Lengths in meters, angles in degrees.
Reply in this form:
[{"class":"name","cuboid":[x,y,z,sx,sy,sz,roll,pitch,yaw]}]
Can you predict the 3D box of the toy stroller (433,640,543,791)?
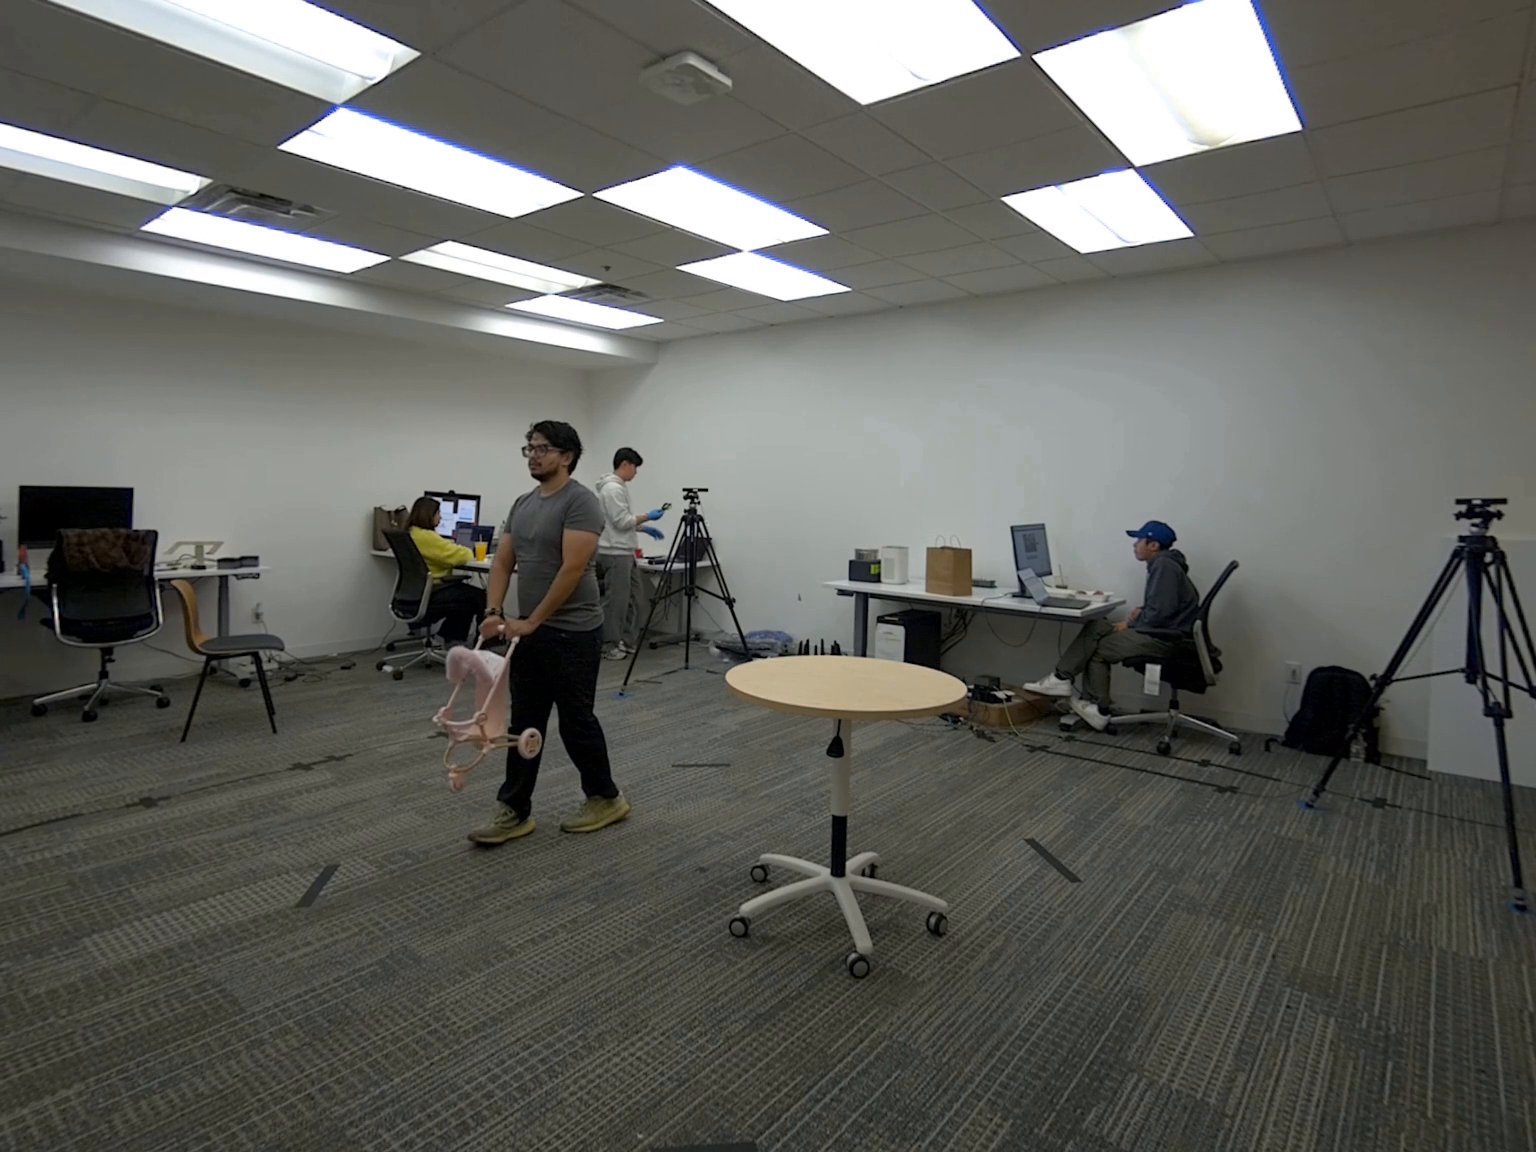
[{"class":"toy stroller","cuboid":[-1.063,0.475,3.086,0.290,0.531,0.333,1,9,38]}]
